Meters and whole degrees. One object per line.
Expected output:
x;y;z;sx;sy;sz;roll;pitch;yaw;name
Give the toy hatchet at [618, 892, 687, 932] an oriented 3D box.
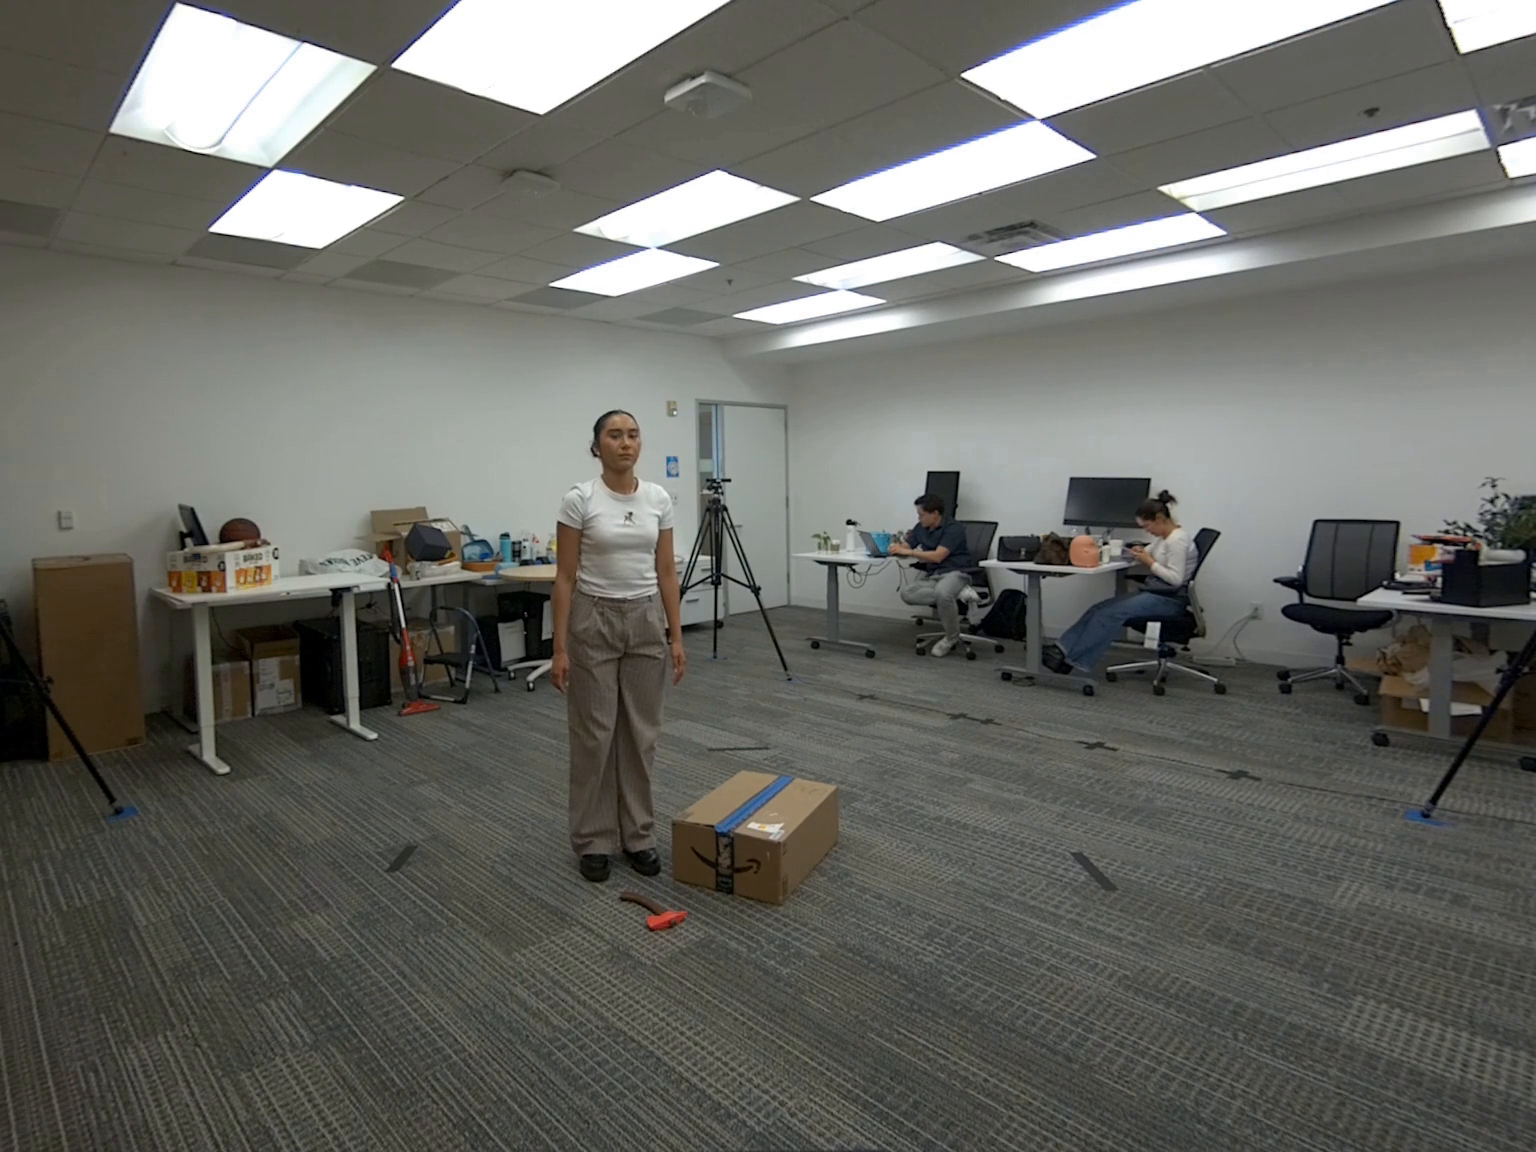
-0.396;1.085;2.744;0.278;0.029;0.128;3;10;36;toy hatchet
